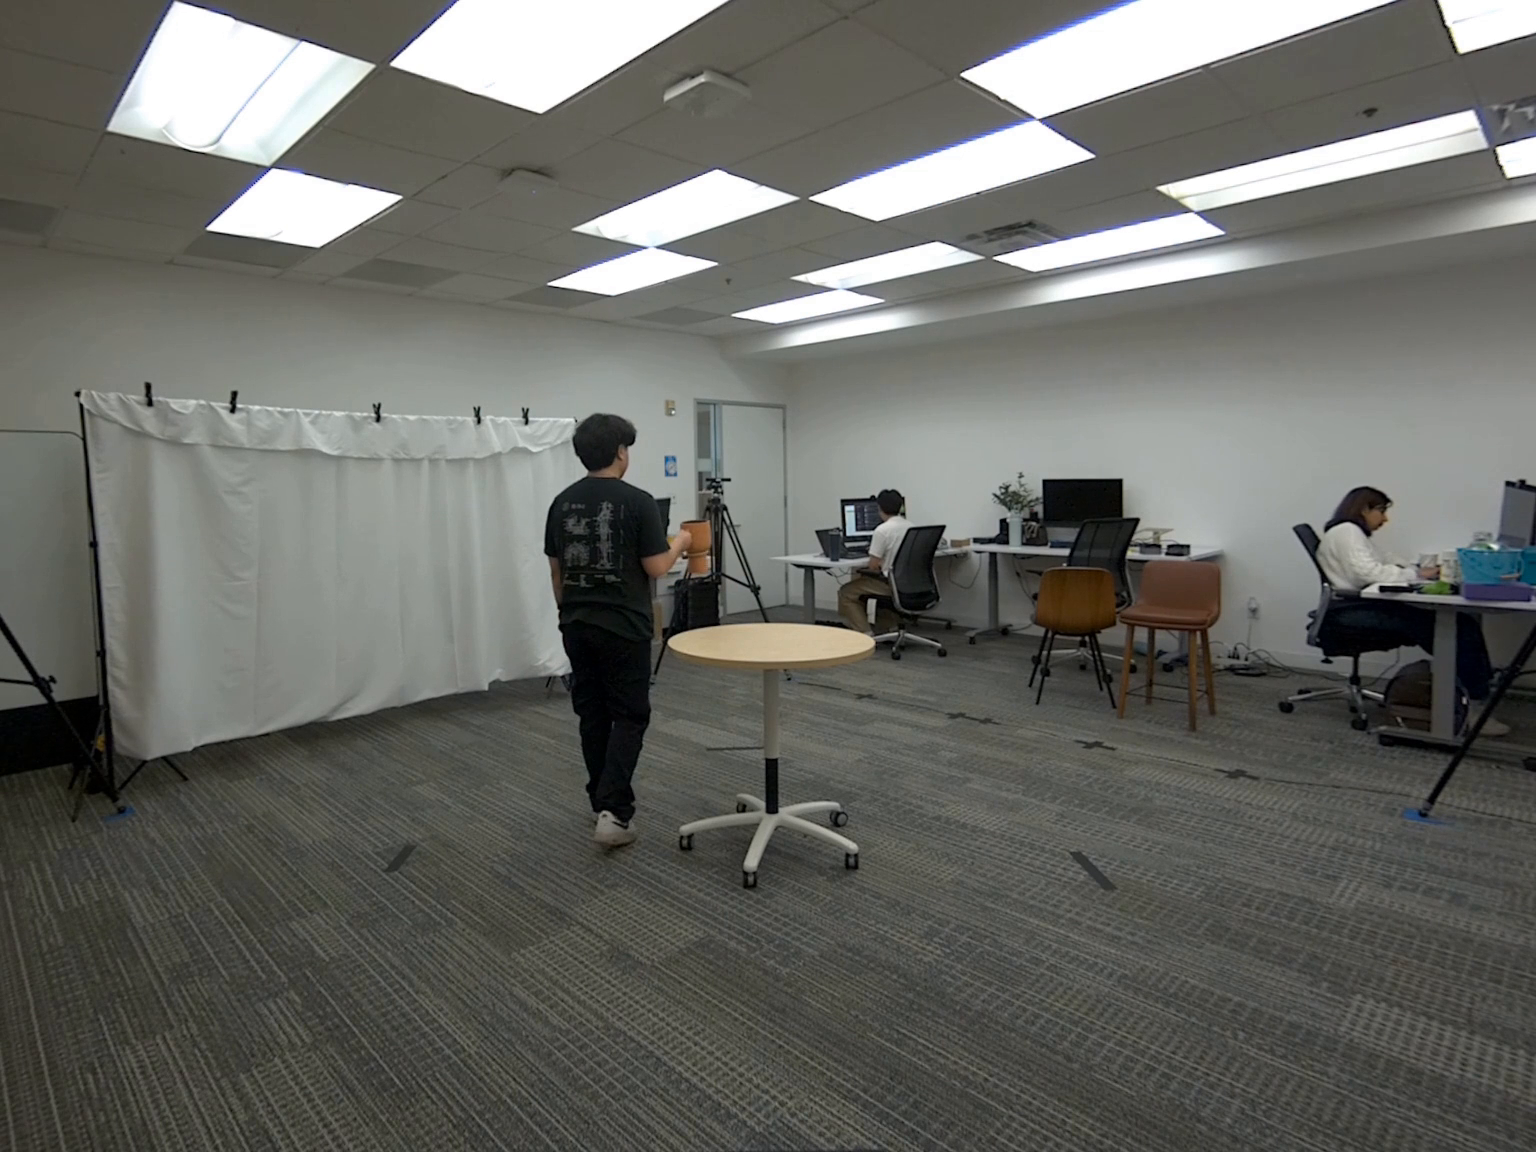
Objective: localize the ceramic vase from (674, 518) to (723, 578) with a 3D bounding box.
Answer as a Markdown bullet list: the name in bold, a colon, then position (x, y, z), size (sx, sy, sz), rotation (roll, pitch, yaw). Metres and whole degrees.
- **ceramic vase**: position (-0.308, -0.129, 3.762), size (0.156, 0.217, 0.138), rotation (-9, 12, -22)
